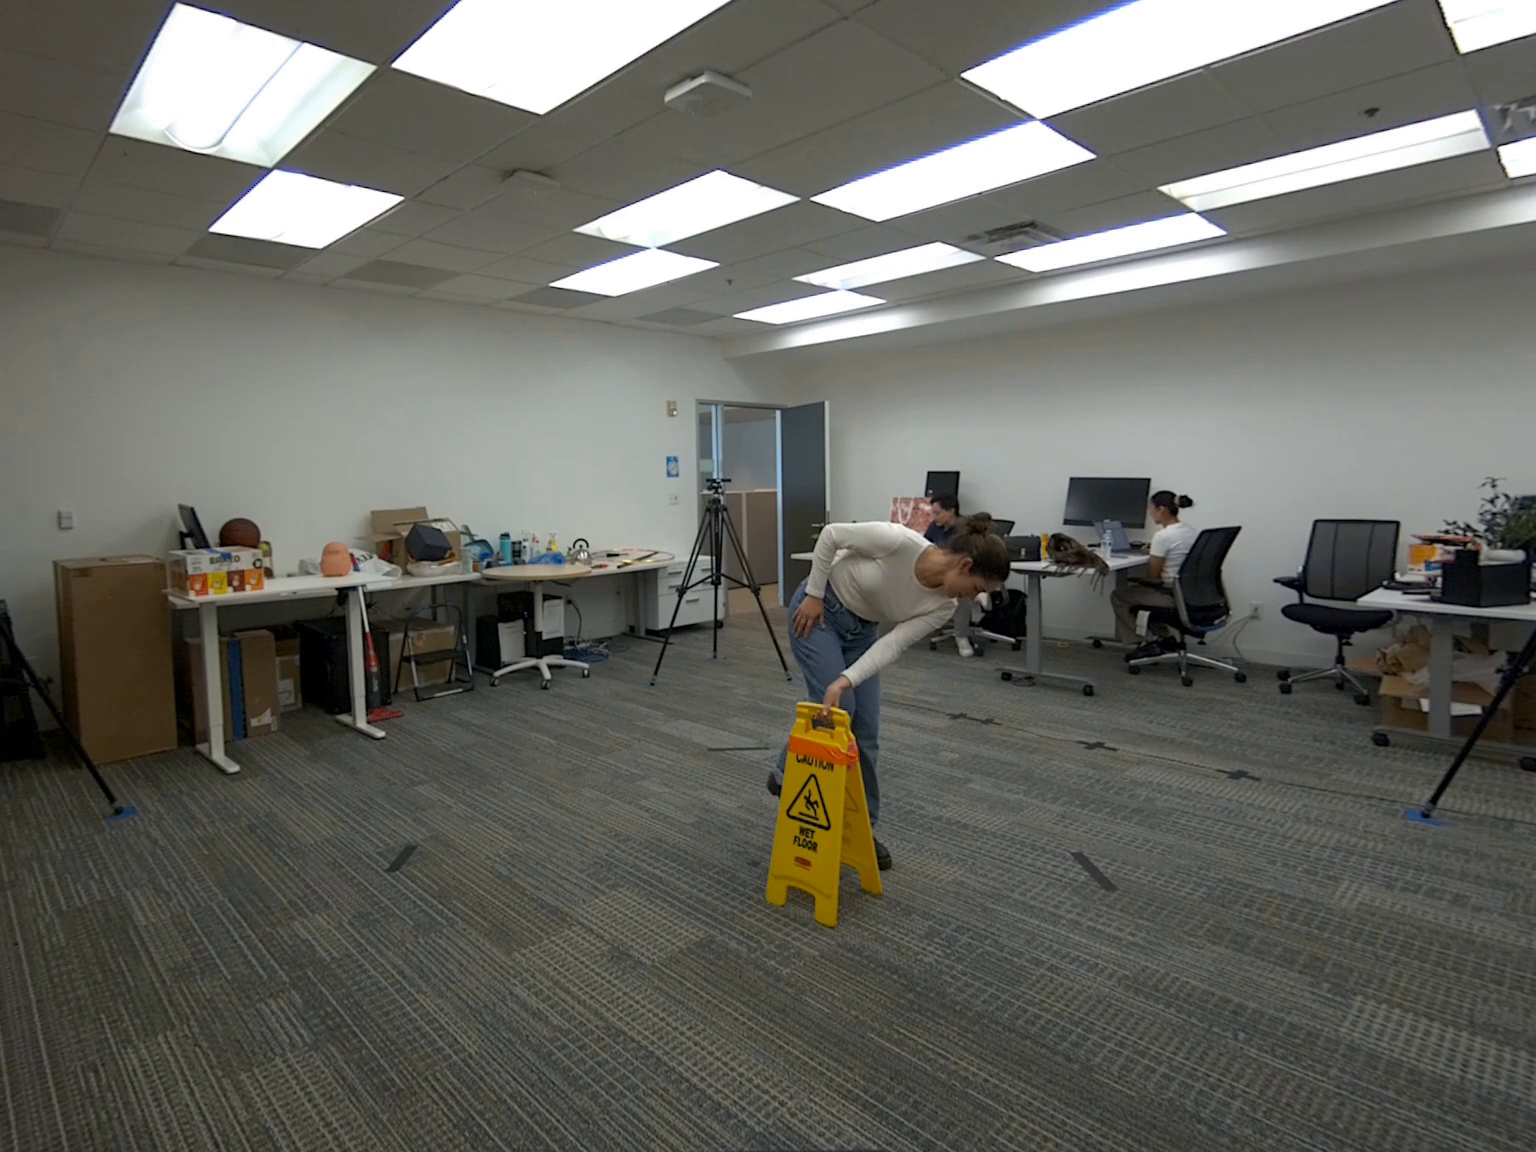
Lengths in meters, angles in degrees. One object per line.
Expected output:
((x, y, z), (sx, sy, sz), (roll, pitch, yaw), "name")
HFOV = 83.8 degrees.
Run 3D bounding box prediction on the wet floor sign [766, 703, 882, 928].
((0.181, 0.750, 2.824), (0.291, 0.644, 0.282), (1, 5, 42), "wet floor sign")
